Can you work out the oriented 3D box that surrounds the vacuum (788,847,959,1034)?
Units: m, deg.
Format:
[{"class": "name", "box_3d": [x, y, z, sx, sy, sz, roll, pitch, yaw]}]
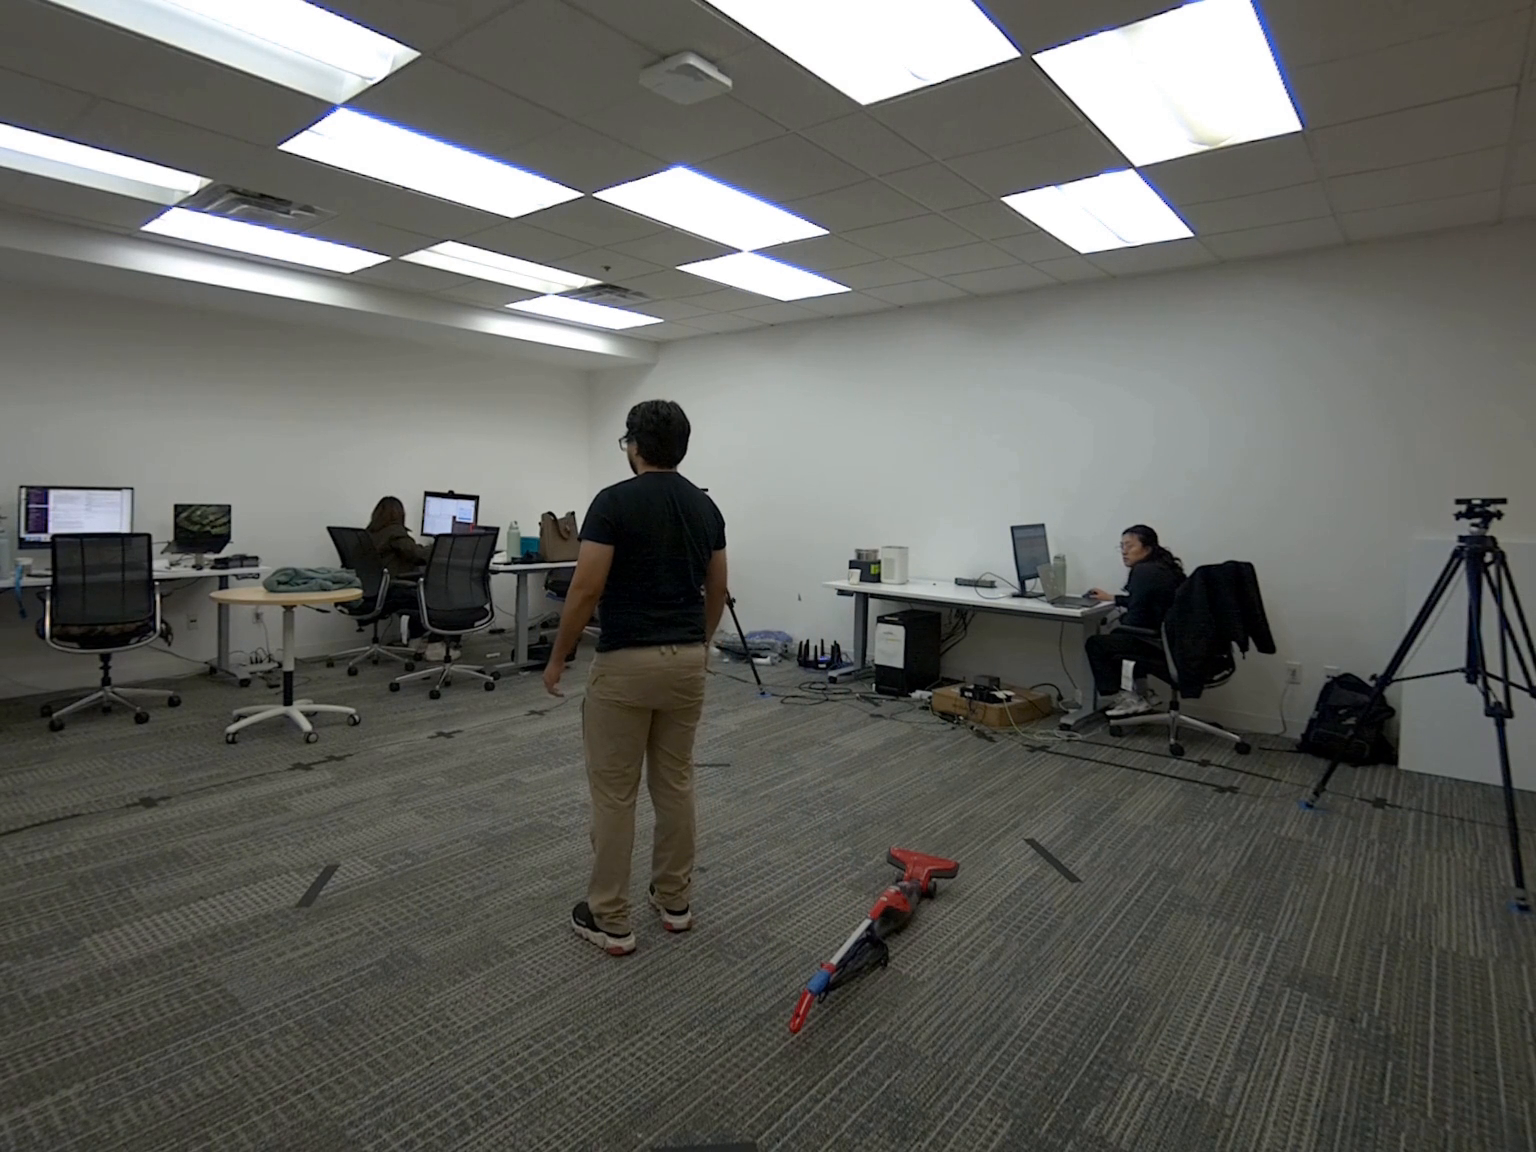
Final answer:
[{"class": "vacuum", "box_3d": [0.298, 1.081, 2.551, 0.259, 0.143, 1.024, 2, 5, 27]}]
